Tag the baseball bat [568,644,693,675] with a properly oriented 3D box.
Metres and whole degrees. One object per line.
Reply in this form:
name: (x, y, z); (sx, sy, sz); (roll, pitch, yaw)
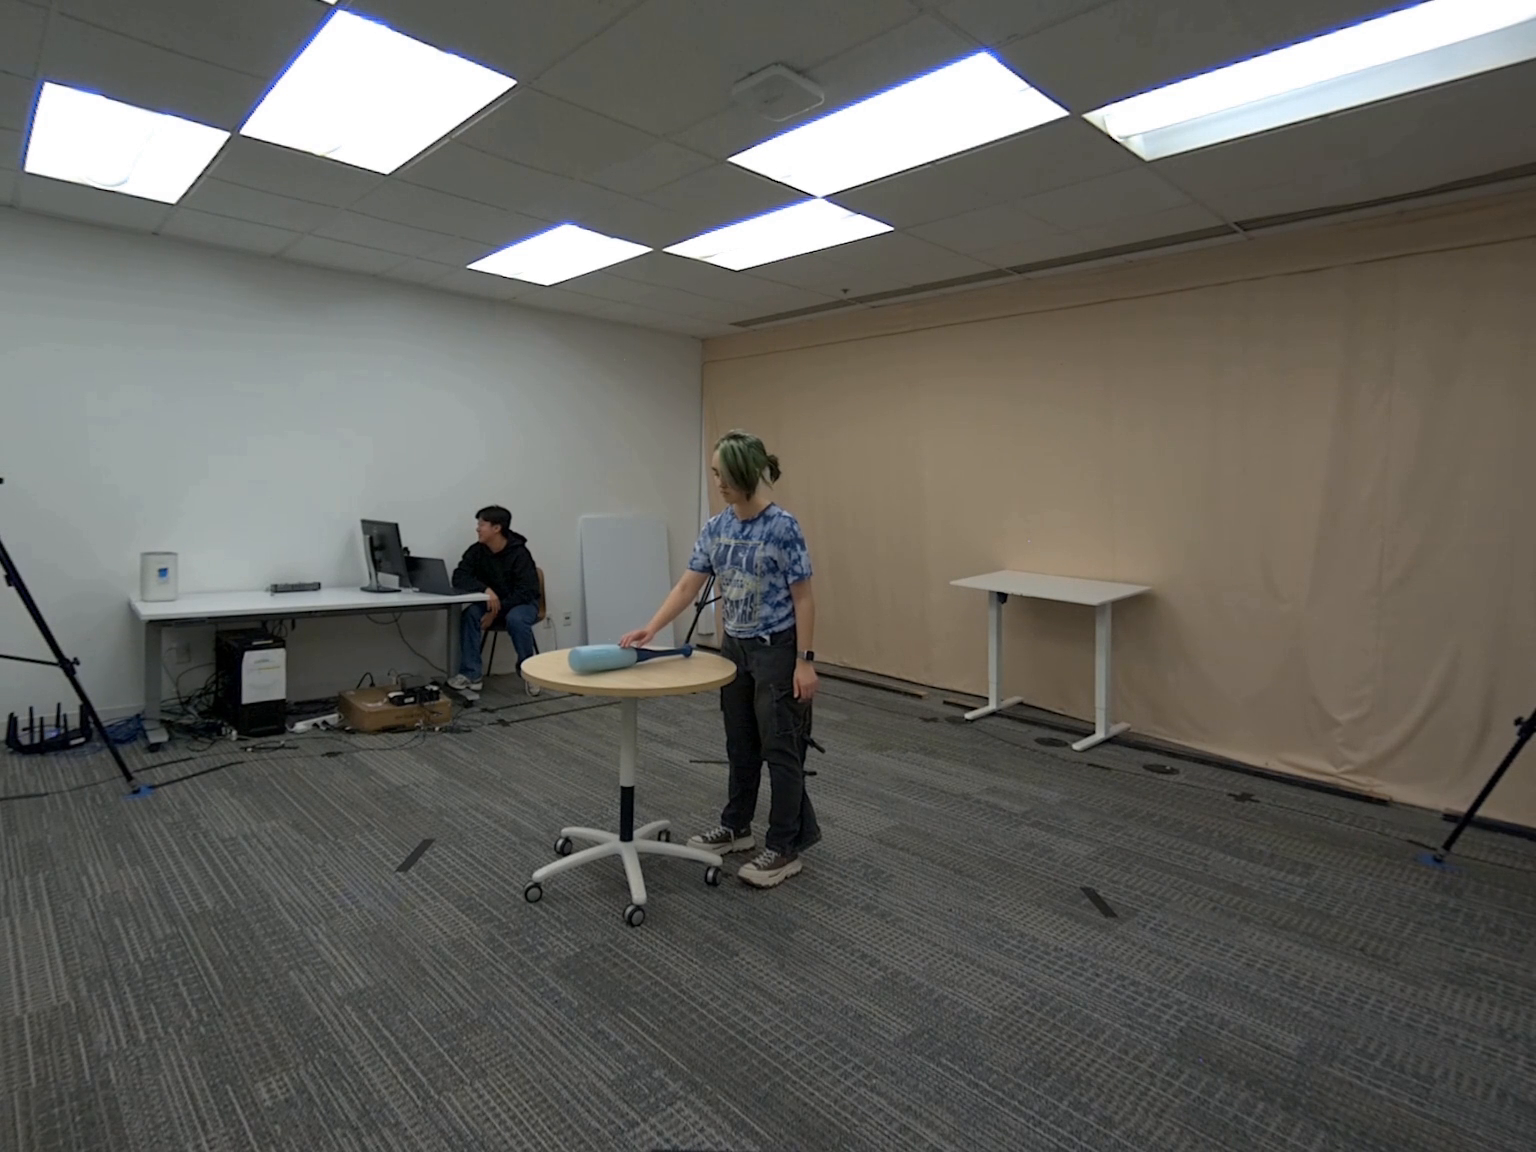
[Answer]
baseball bat: (-0.478, 0.288, 3.003); (0.091, 0.089, 0.530); (5, 2, 40)
